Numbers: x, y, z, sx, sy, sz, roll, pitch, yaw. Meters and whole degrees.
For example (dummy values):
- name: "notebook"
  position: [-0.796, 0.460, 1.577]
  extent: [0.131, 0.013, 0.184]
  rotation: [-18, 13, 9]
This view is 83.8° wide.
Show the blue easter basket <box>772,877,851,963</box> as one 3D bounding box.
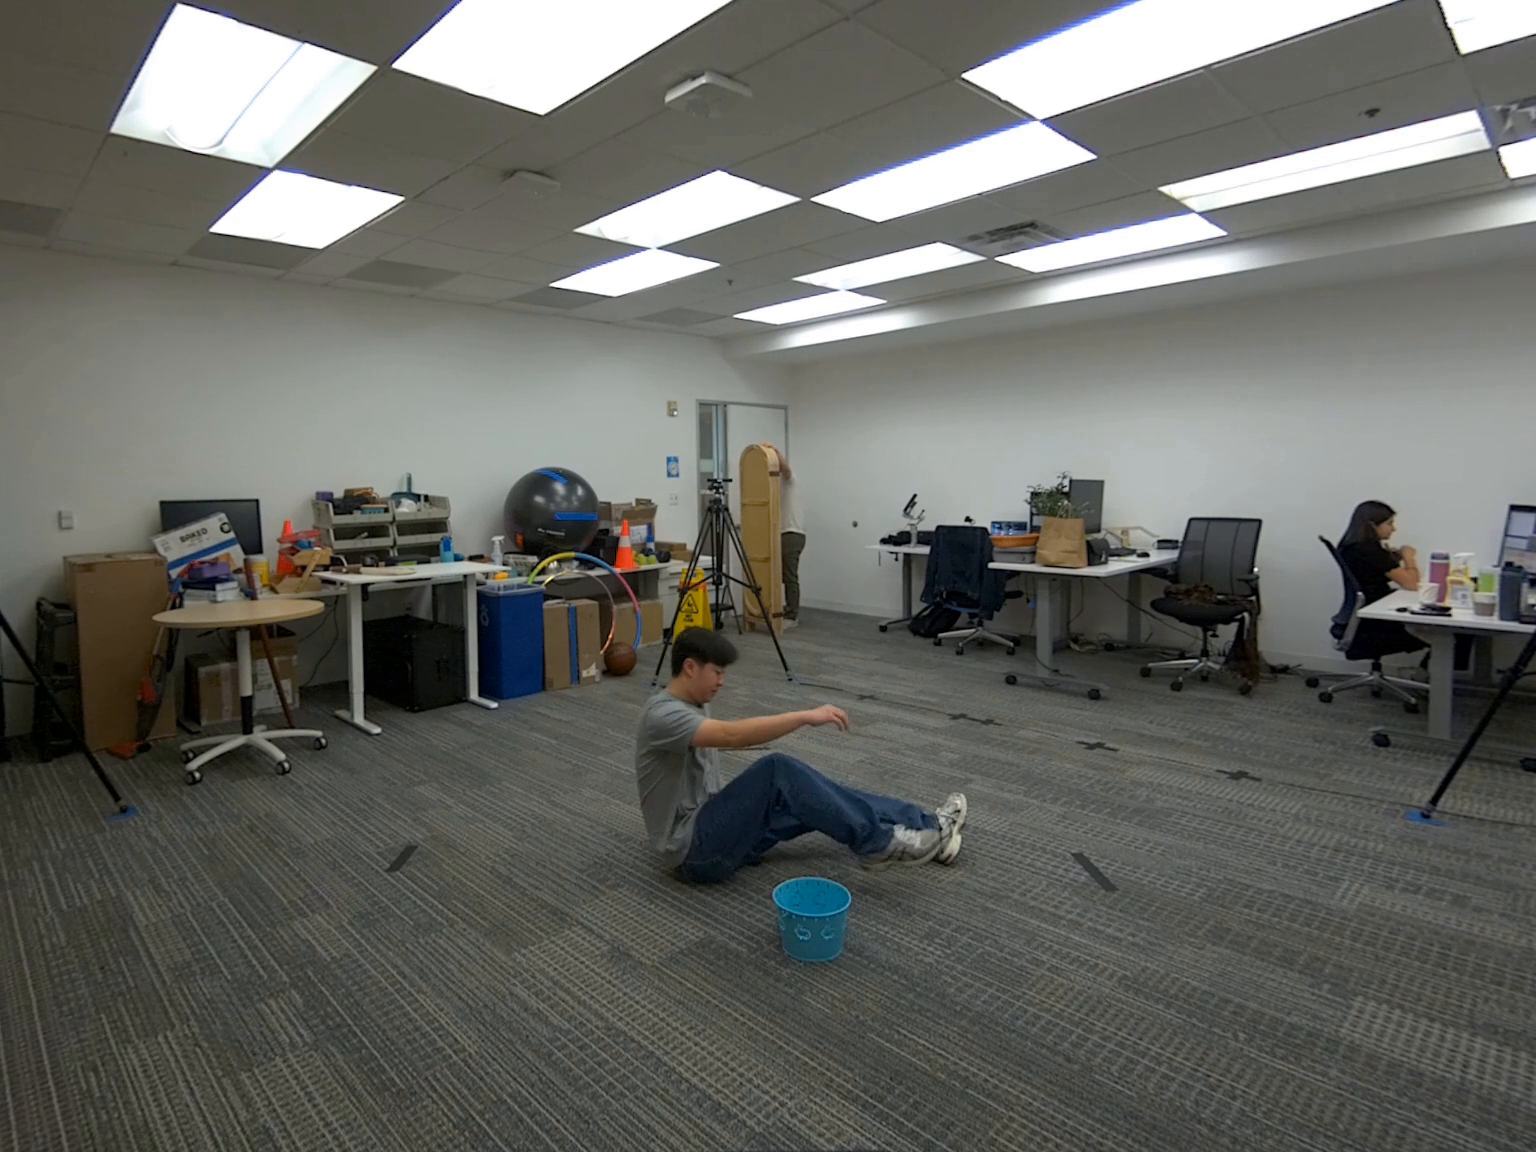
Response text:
- name: "blue easter basket"
  position: [0.132, 1.032, 2.558]
  extent: [0.243, 0.155, 0.245]
  rotation: [2, 8, -2]
